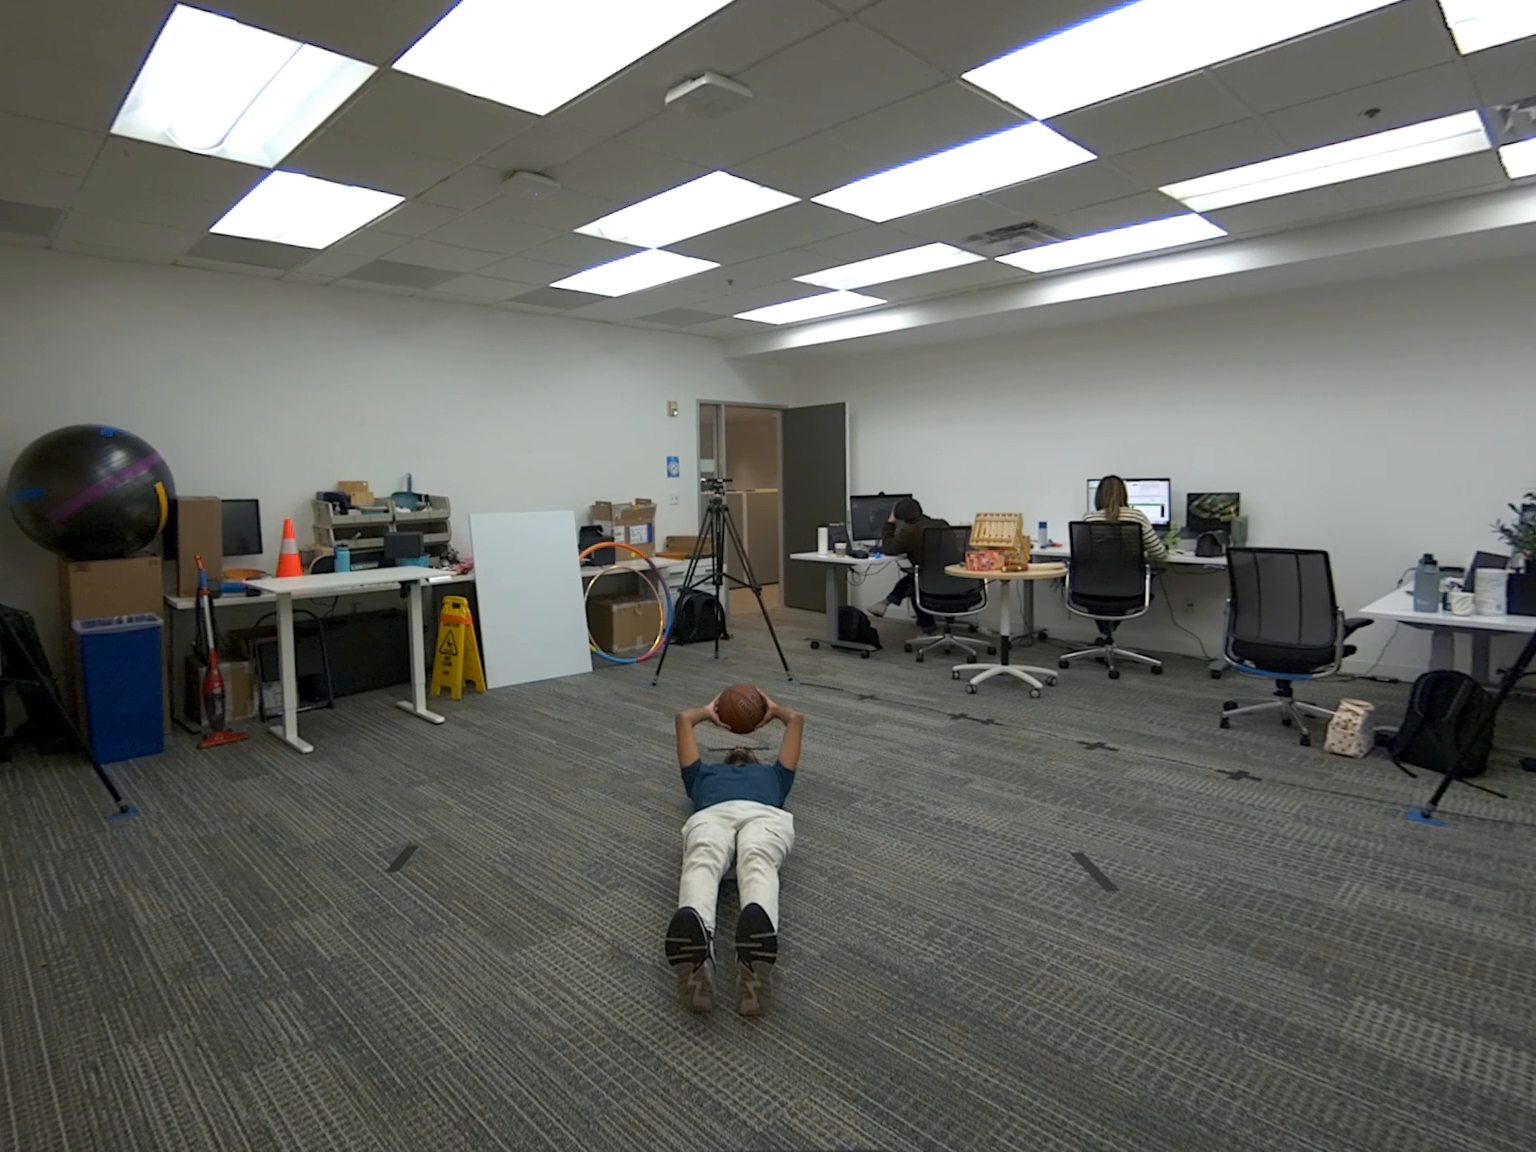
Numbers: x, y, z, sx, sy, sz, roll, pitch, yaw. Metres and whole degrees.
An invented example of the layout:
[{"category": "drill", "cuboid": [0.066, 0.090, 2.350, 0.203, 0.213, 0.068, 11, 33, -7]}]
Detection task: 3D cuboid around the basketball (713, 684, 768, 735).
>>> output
[{"category": "basketball", "cuboid": [-0.124, 0.633, 4.094, 0.236, 0.235, 0.237, -1, 5, -2]}]
